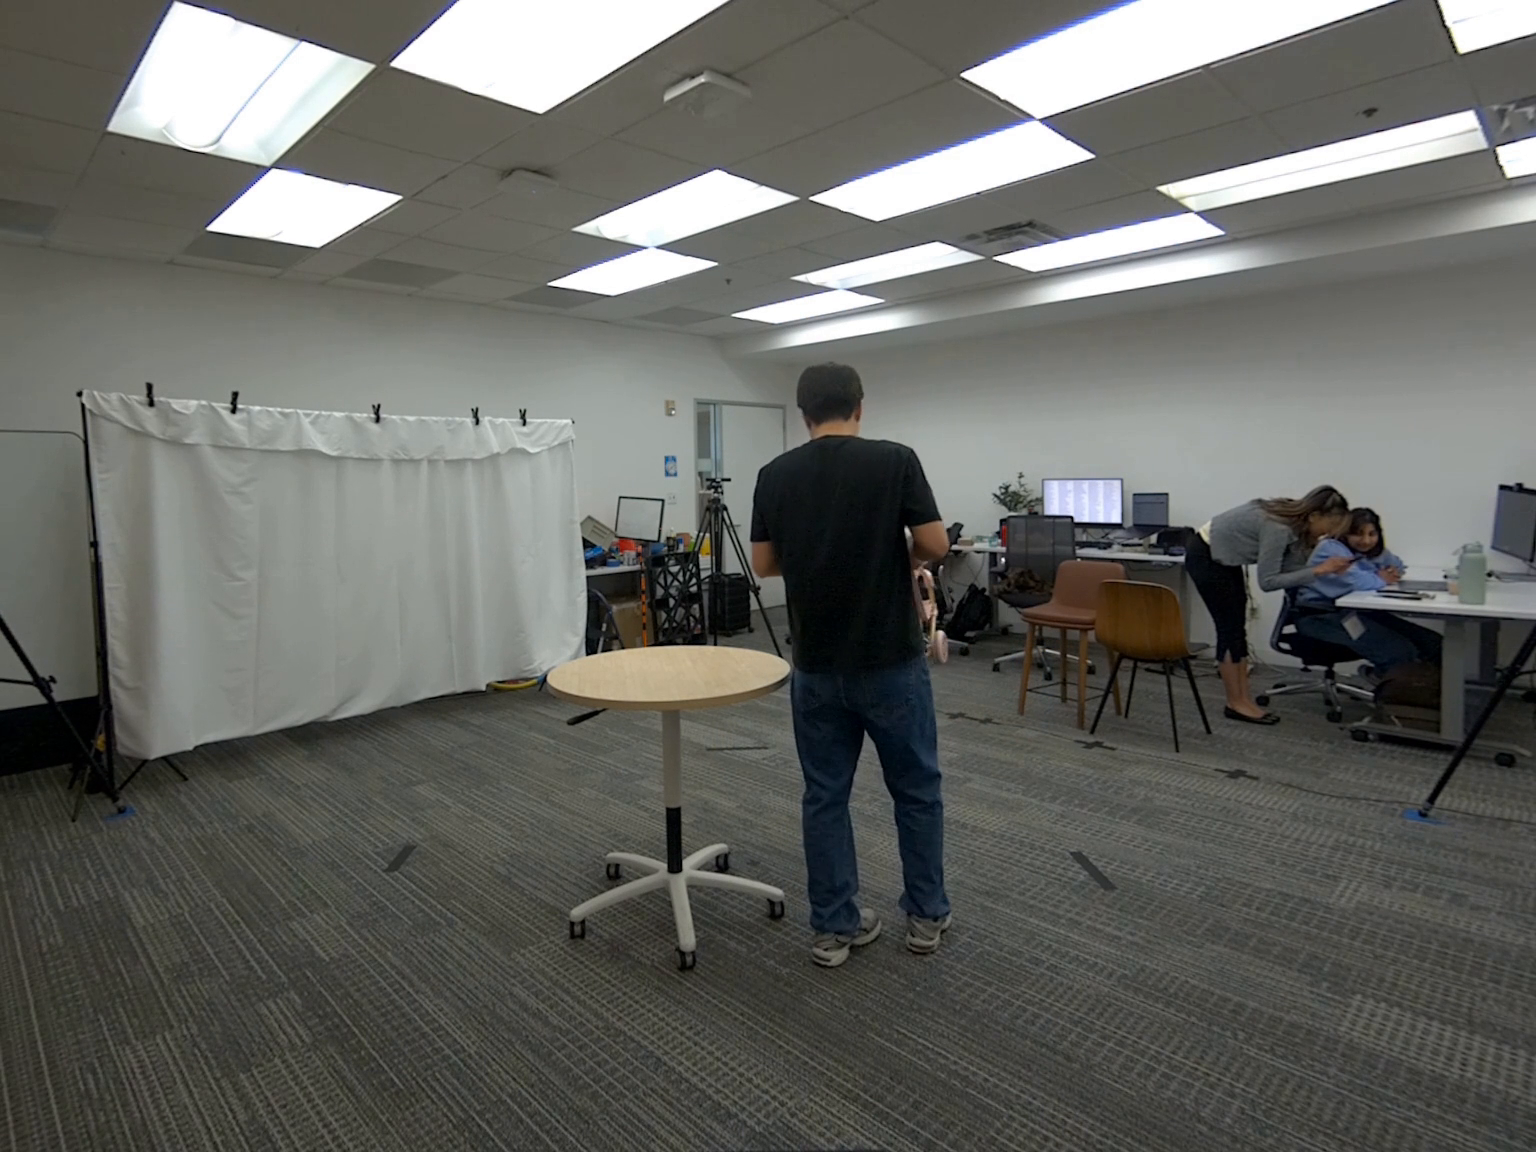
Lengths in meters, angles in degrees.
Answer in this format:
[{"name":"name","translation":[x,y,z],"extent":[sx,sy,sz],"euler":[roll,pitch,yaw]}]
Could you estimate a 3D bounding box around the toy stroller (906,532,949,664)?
[{"name":"toy stroller","translation":[0.447,0.058,2.852],"extent":[0.288,0.522,0.342],"euler":[-4,27,26]}]
